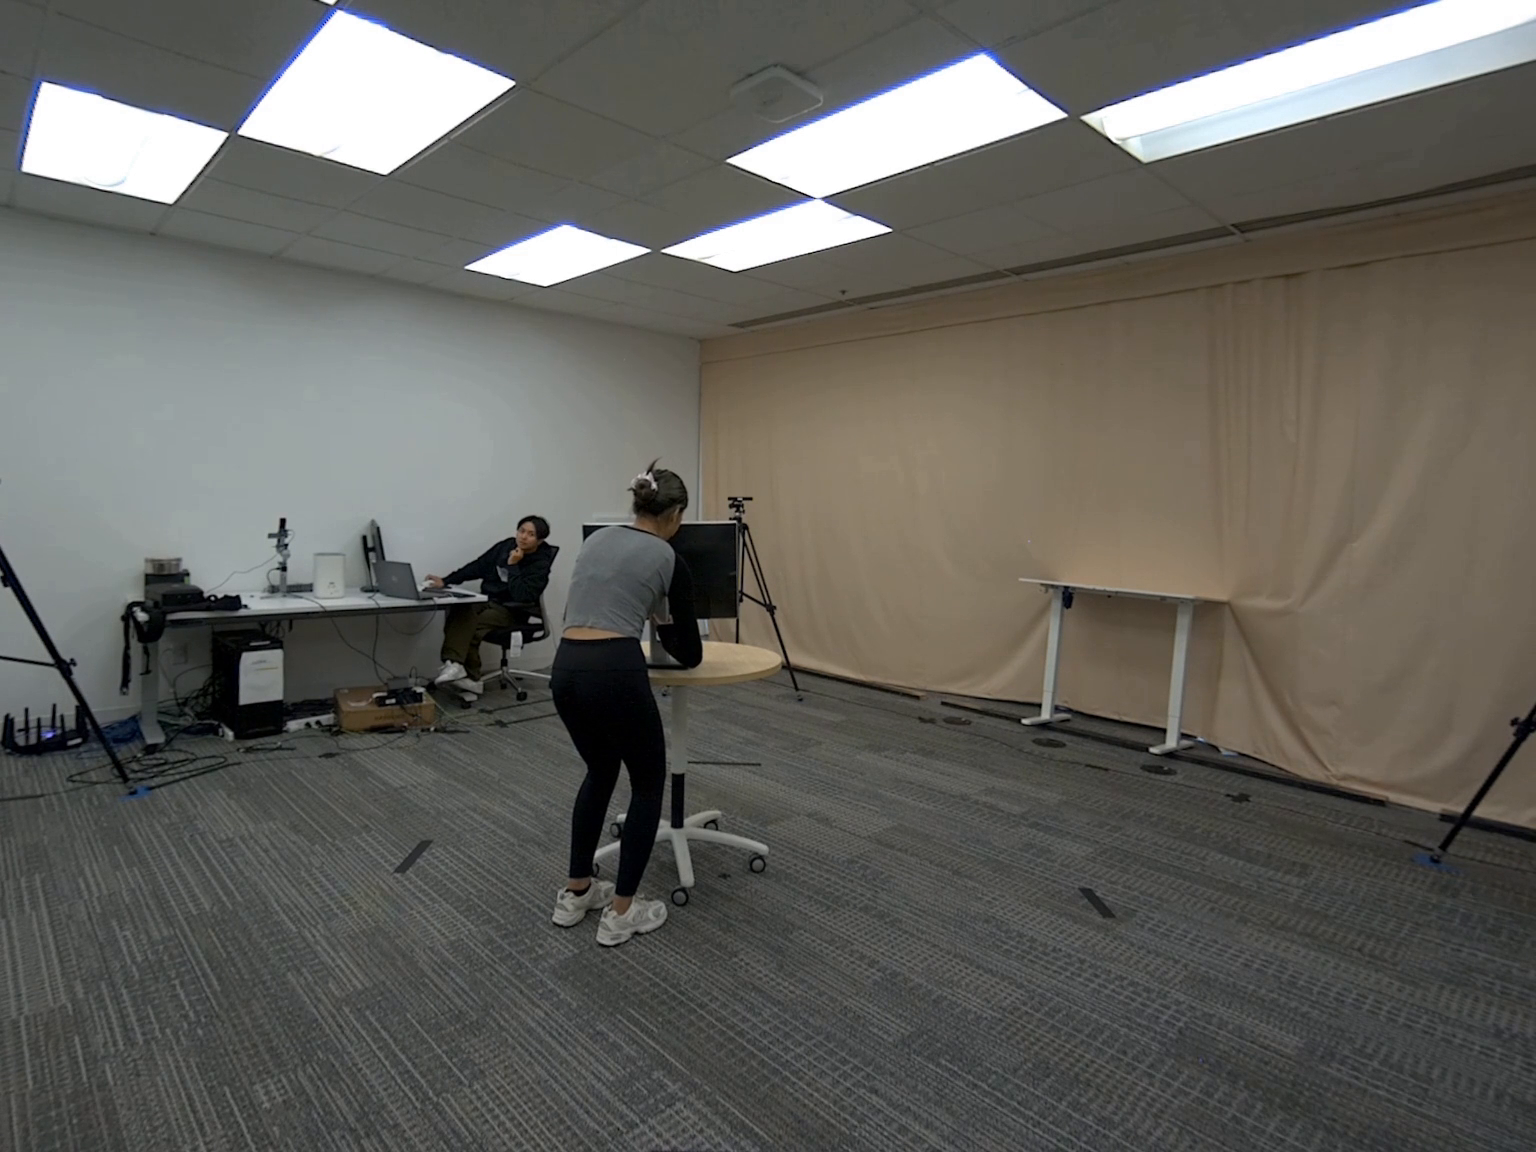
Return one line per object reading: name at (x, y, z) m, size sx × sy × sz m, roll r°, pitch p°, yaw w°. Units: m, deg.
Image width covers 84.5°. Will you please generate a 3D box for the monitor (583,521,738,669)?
monitor at (-0.379, 0.070, 3.011) m, size 0.538 × 0.522 × 0.187 m, roll -1°, pitch 1°, yaw -2°
